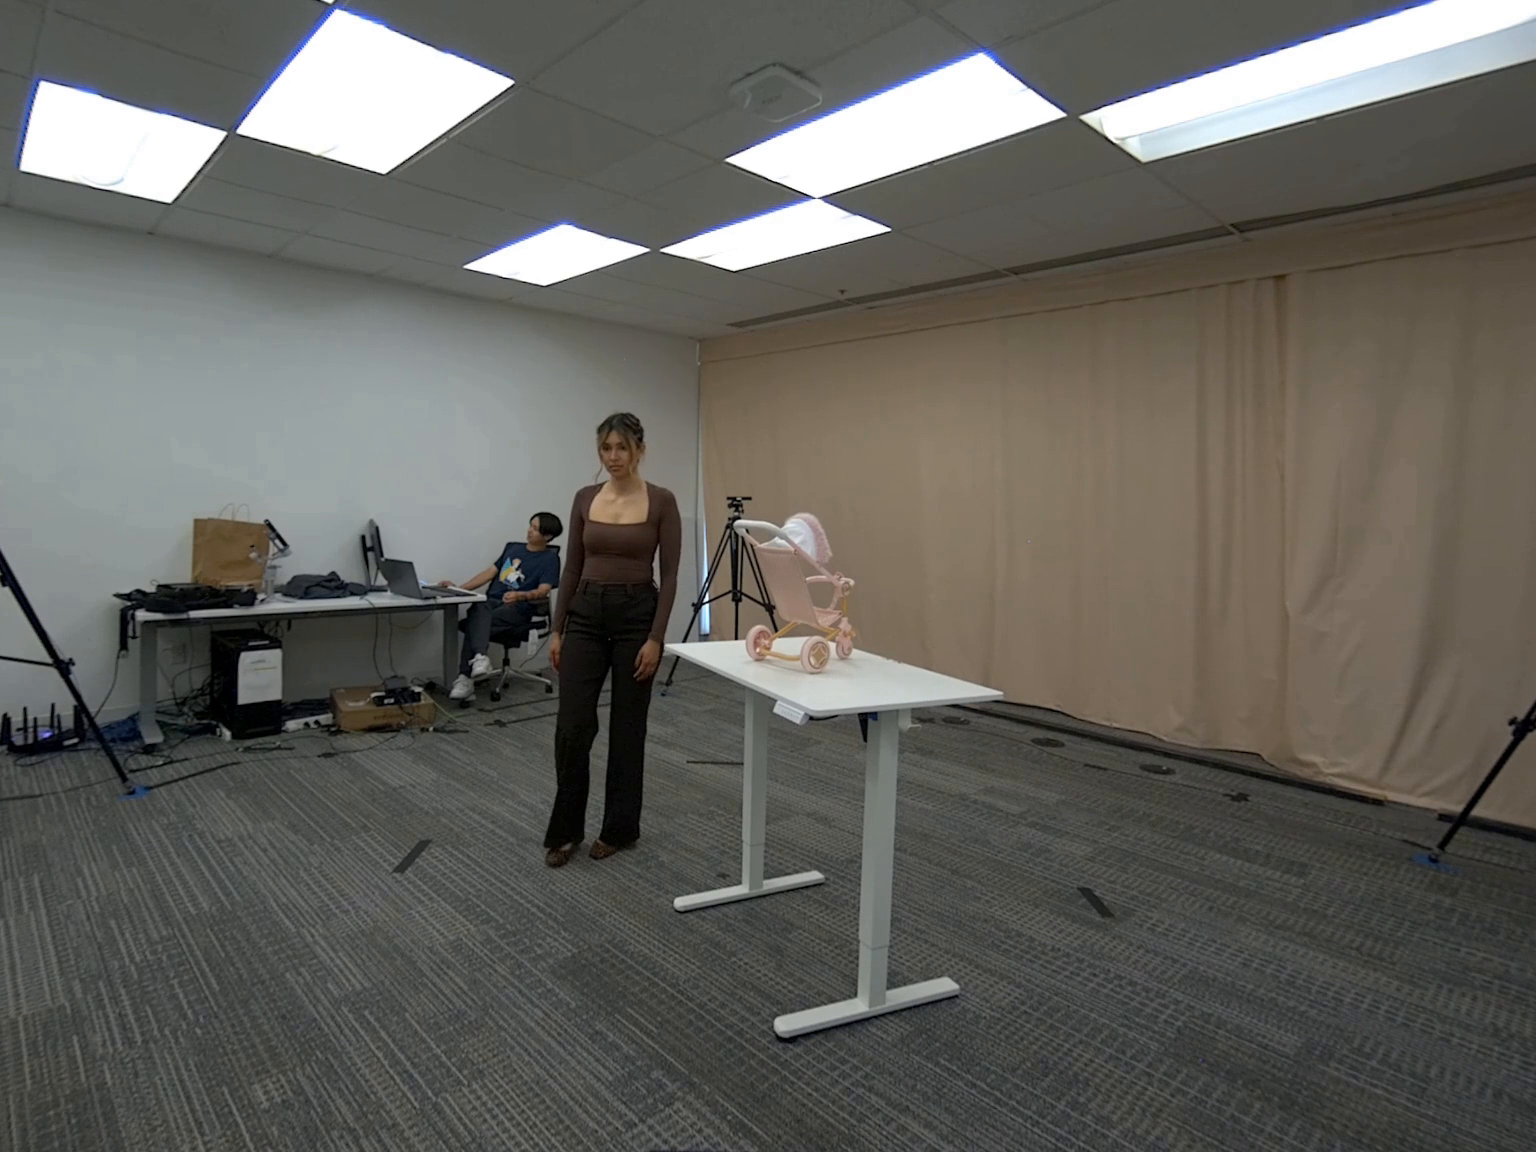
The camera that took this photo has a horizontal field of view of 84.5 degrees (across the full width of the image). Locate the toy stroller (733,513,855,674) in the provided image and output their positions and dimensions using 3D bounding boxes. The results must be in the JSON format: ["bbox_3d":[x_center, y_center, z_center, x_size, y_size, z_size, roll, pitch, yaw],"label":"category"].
[{"bbox_3d":[0.110,0.051,2.591,0.336,0.530,0.288,-18,14,-34],"label":"toy stroller"}]
